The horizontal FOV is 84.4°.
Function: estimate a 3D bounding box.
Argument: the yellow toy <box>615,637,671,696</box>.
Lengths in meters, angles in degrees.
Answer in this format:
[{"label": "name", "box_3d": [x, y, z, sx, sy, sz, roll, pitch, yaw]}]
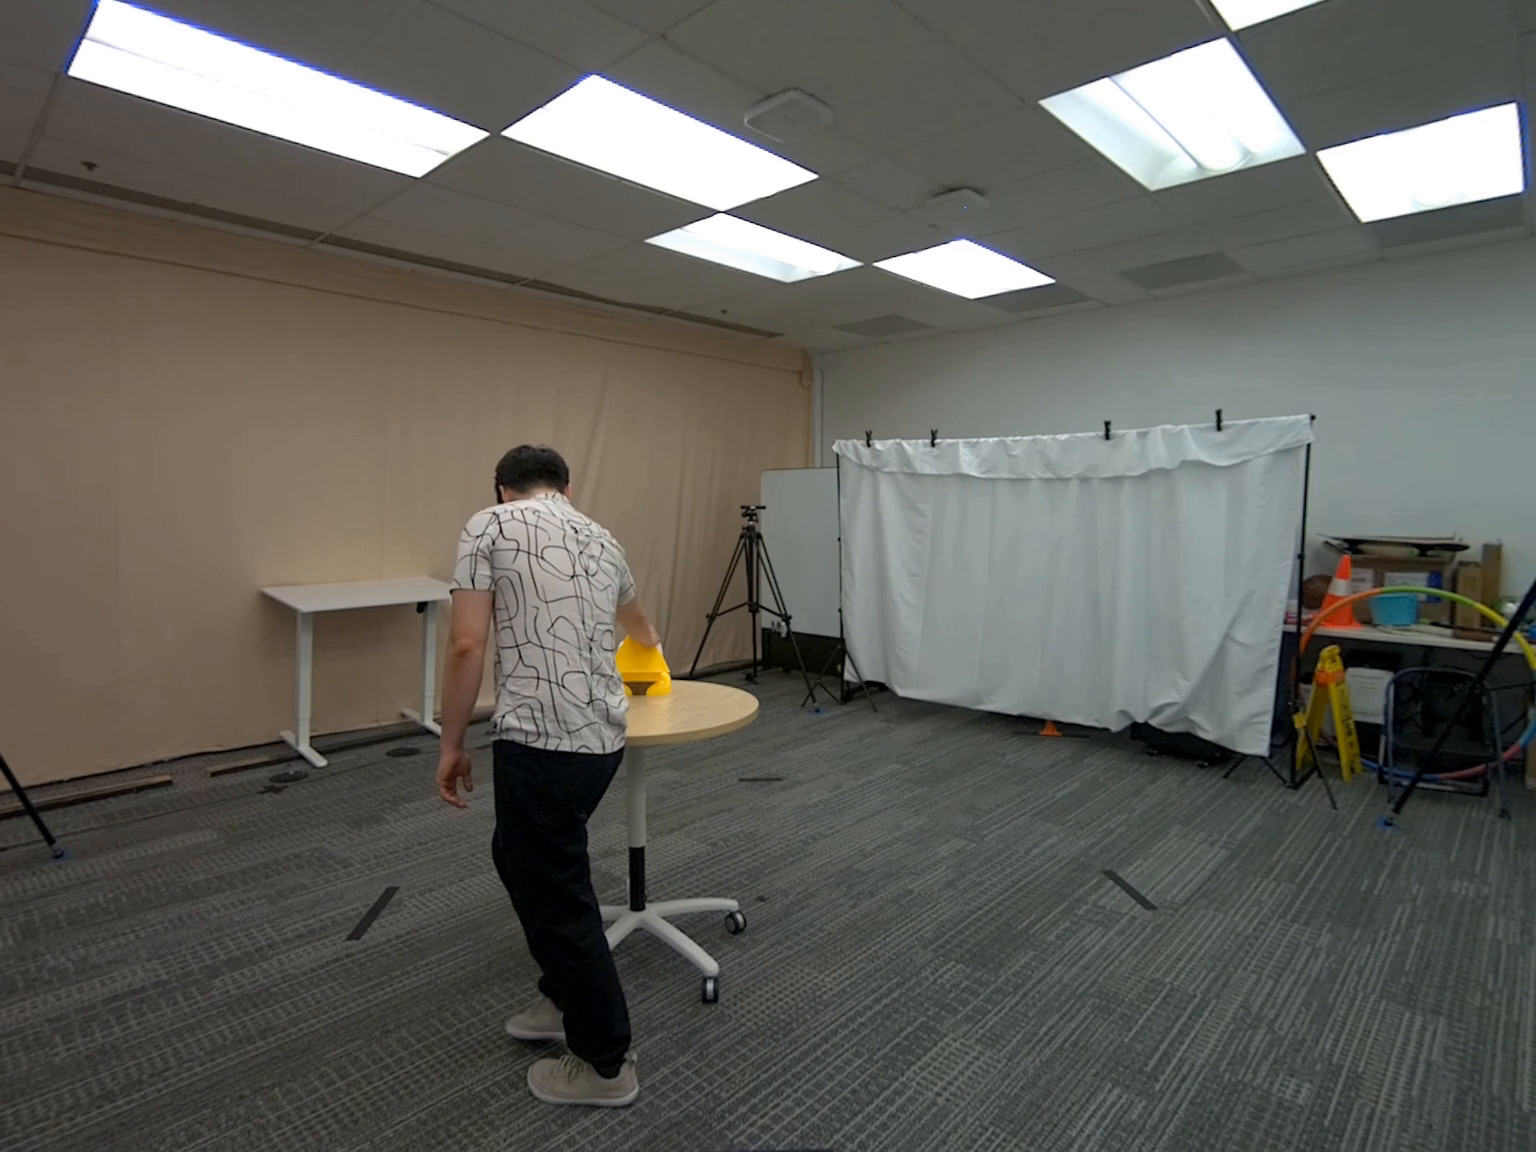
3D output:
[{"label": "yellow toy", "box_3d": [-0.423, 0.269, 2.790, 0.204, 0.230, 0.194, -1, 5, -2]}]
